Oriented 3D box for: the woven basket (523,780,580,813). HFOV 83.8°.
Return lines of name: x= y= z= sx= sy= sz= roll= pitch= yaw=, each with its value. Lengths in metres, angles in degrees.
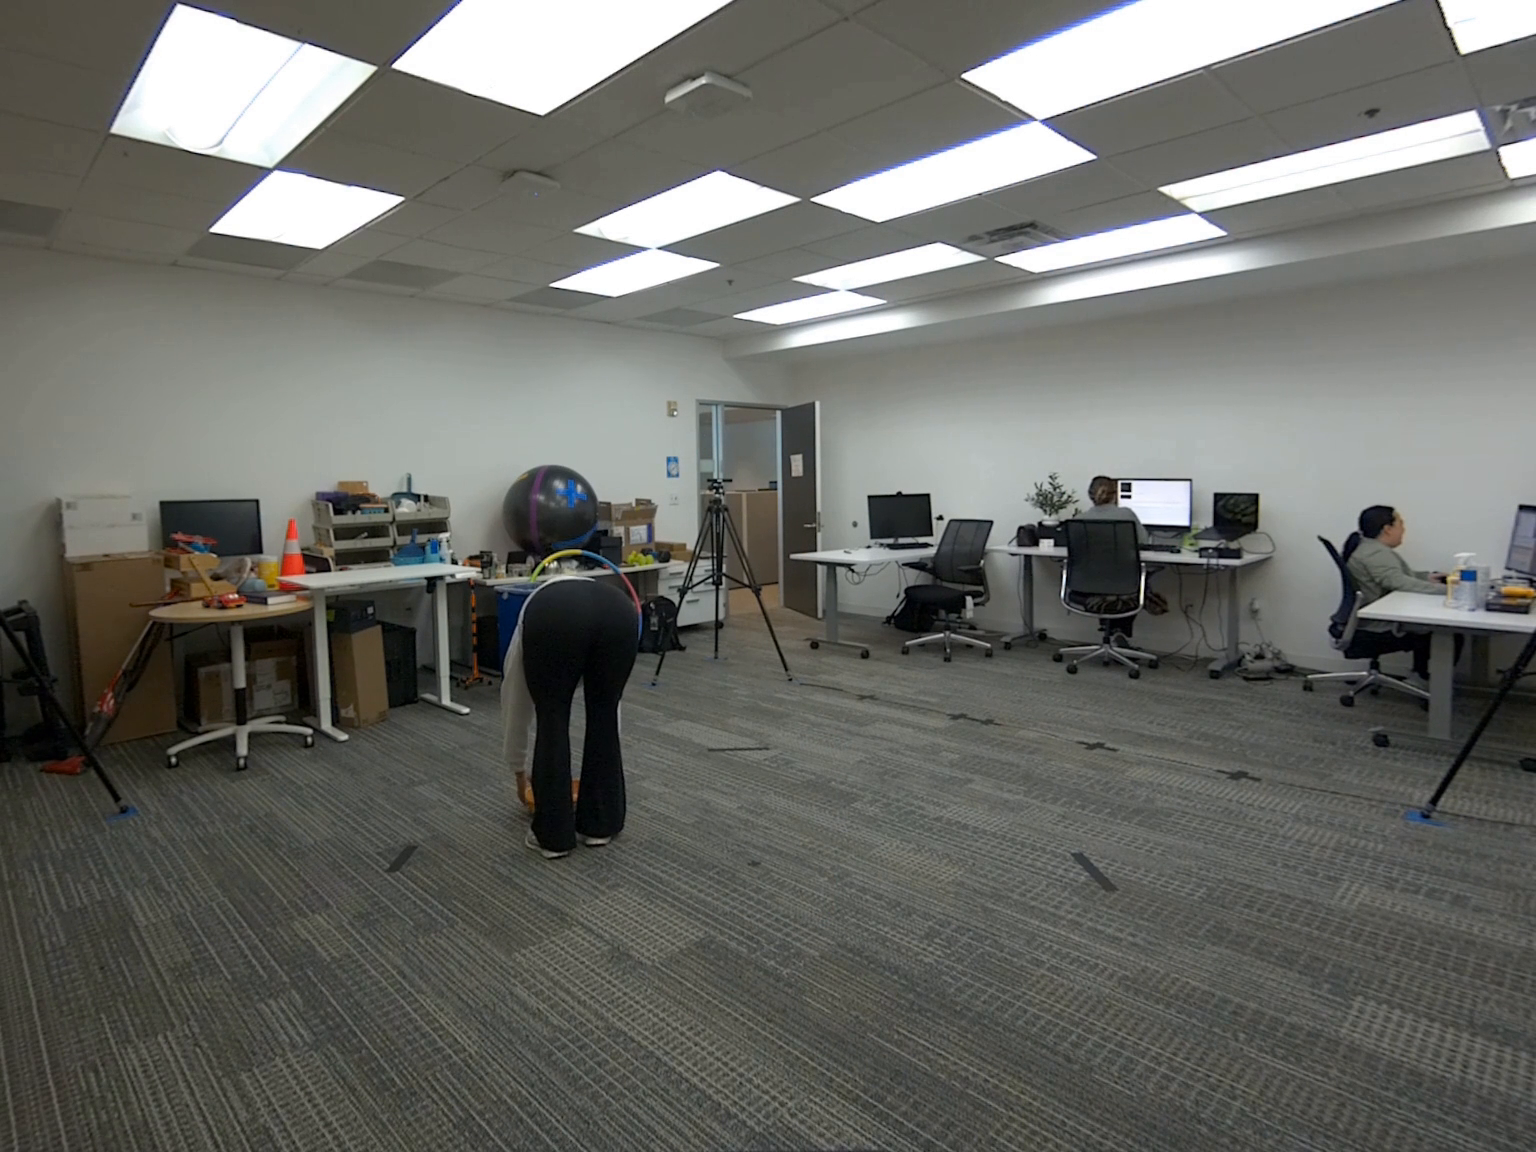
woven basket: x=-0.863 y=0.929 z=3.664 sx=0.344 sy=0.073 sz=0.258 roll=-3 pitch=9 yaw=-20
